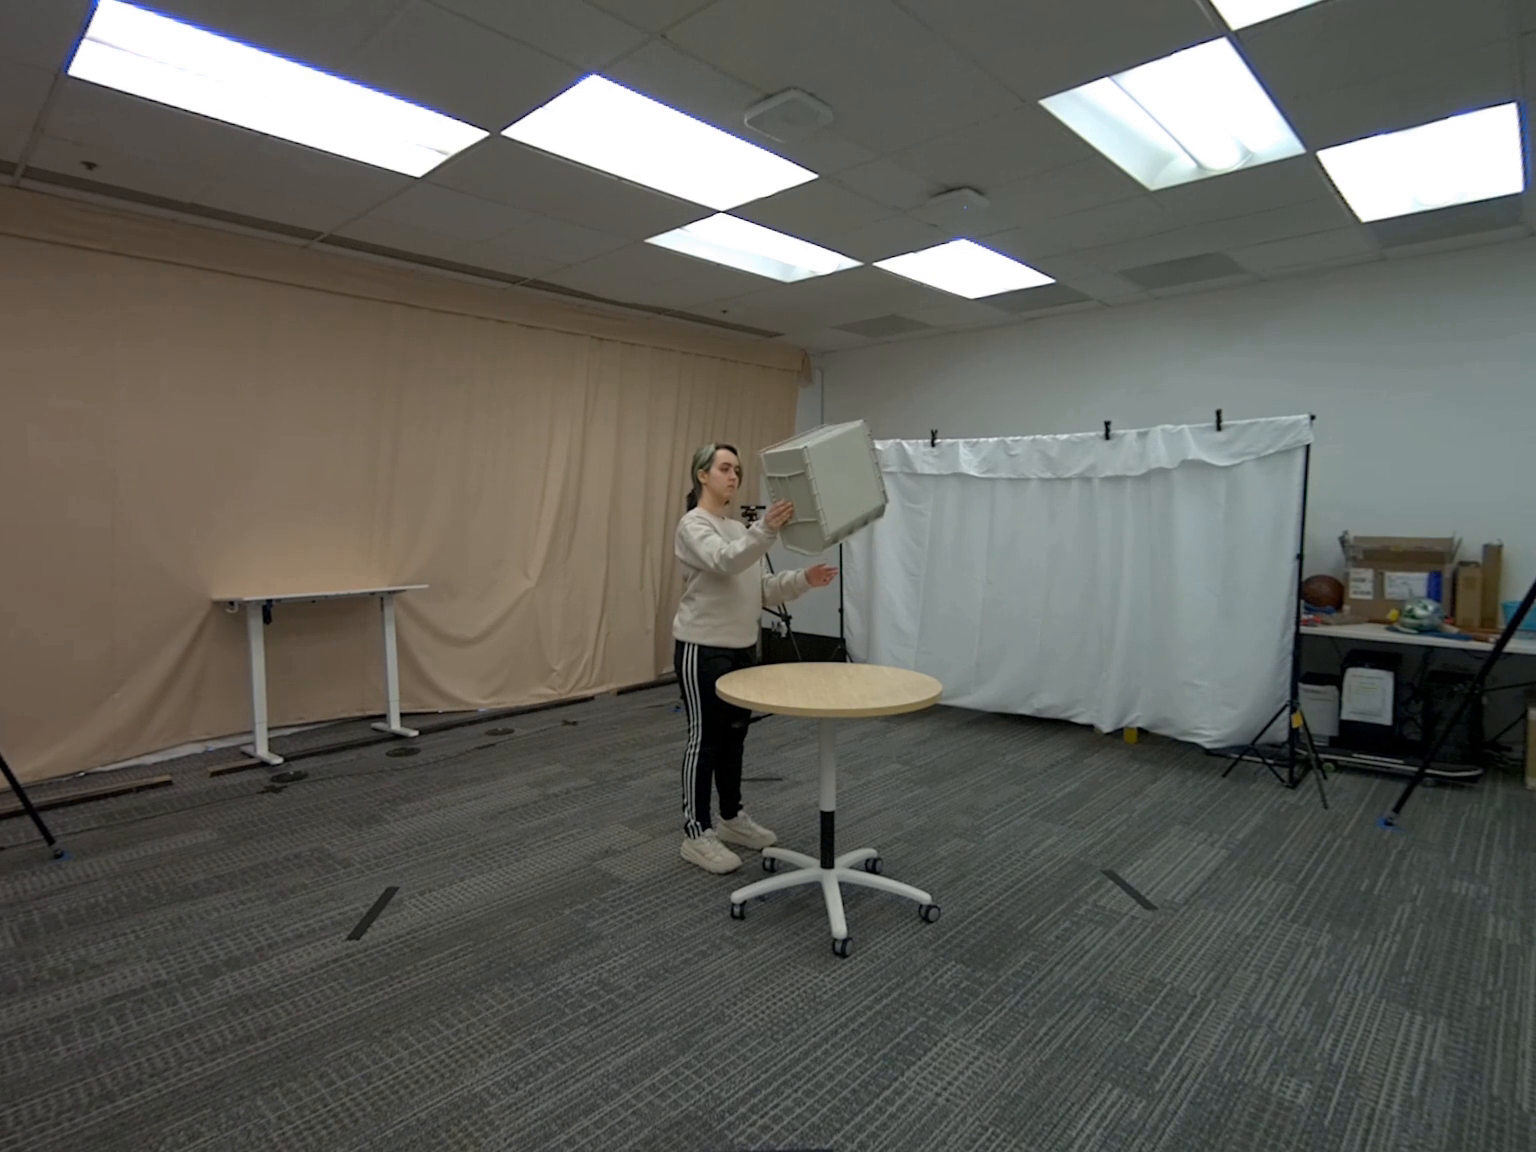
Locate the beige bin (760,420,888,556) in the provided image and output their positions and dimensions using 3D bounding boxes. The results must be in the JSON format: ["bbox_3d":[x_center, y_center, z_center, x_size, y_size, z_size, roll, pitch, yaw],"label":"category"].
[{"bbox_3d":[0.209,-0.305,2.914,0.195,0.373,0.414,-3,17,43],"label":"beige bin"}]
